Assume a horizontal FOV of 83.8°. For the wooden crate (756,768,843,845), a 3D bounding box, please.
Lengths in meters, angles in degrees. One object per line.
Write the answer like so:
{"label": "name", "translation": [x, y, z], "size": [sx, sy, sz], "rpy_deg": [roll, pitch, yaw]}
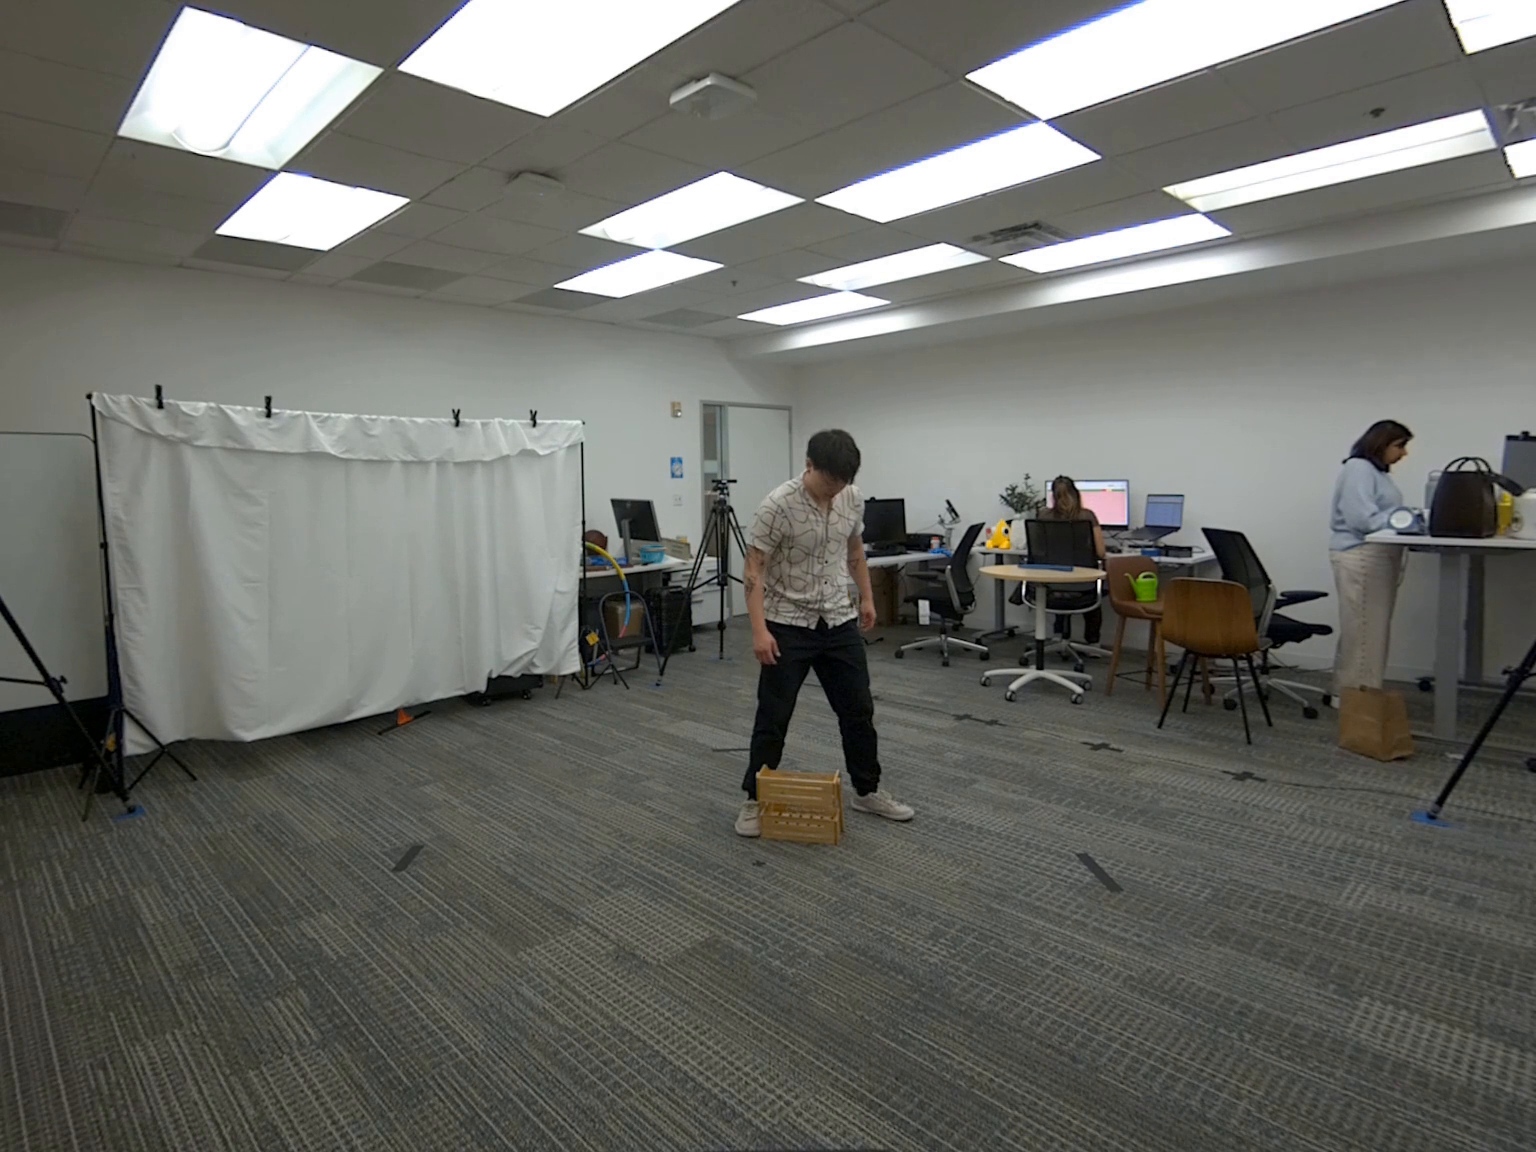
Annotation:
{"label": "wooden crate", "translation": [0.140, 0.882, 3.383], "size": [0.329, 0.272, 0.299], "rpy_deg": [0, 6, 13]}
